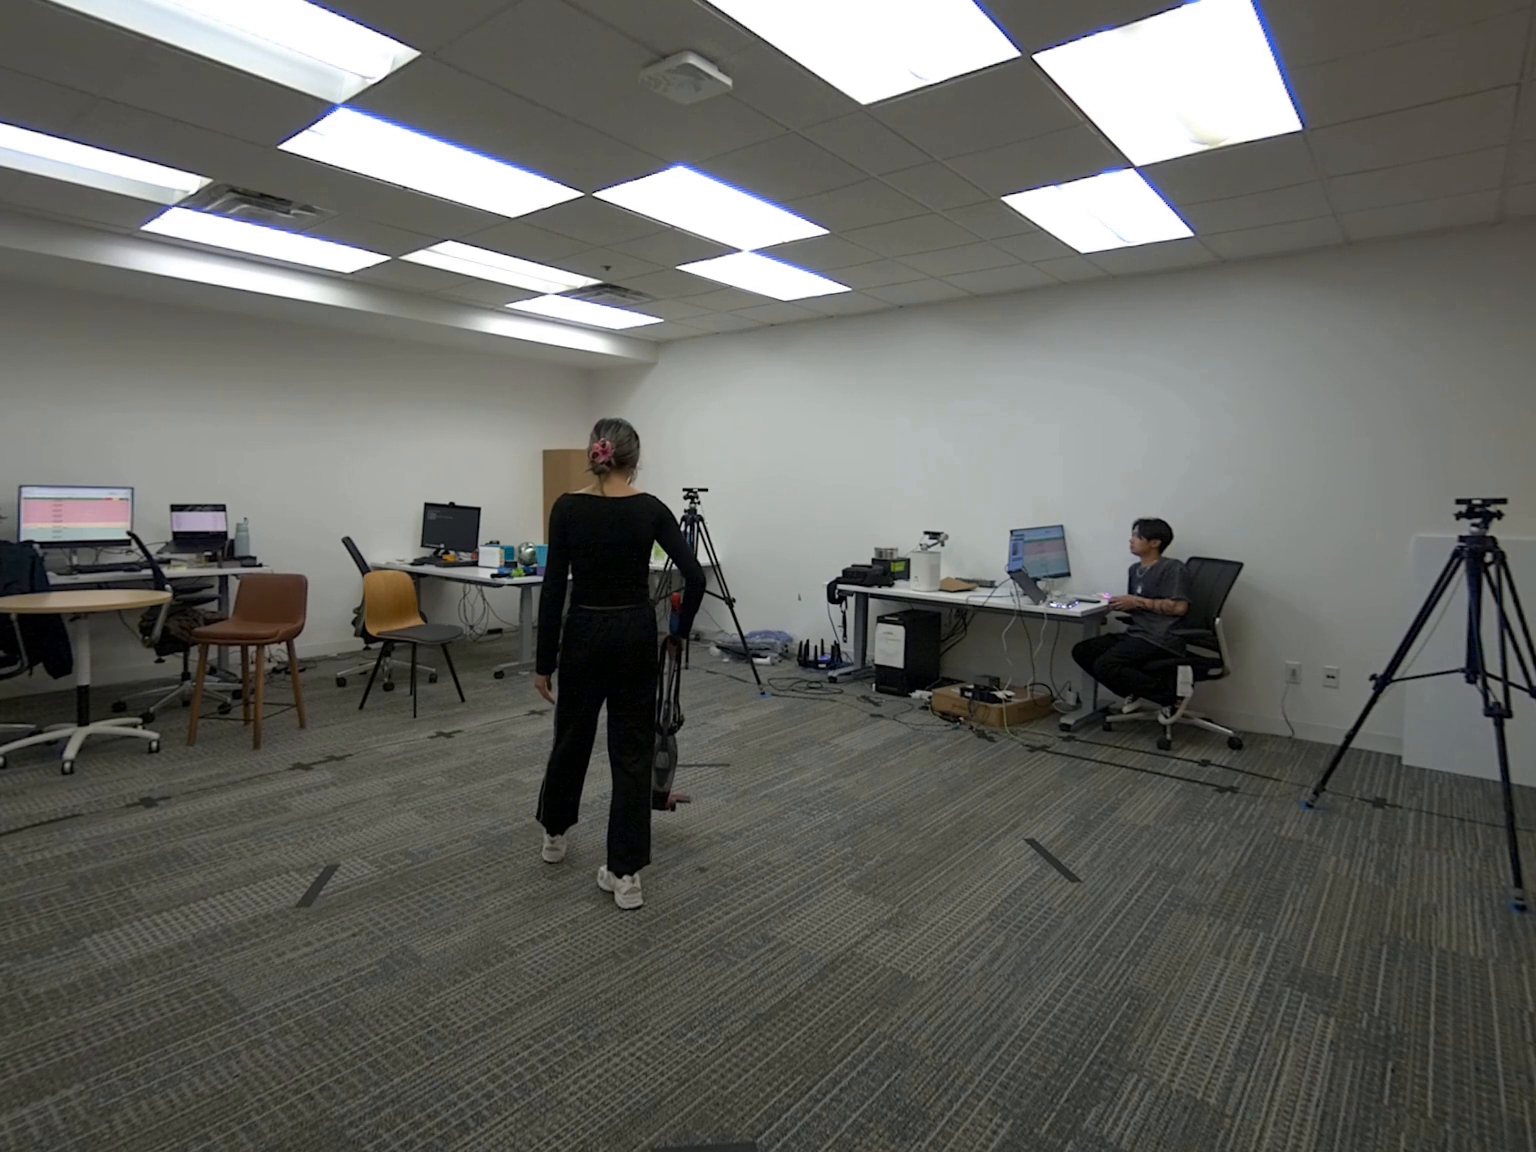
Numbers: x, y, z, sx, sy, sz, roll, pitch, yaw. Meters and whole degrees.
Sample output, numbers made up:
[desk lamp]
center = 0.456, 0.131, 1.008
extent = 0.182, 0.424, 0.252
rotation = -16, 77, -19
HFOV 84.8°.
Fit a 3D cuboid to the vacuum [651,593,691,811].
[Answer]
[vacuum]
center = -0.377, 0.492, 3.113
extent = 0.252, 1.026, 0.147
rotation = 8, 34, -1
